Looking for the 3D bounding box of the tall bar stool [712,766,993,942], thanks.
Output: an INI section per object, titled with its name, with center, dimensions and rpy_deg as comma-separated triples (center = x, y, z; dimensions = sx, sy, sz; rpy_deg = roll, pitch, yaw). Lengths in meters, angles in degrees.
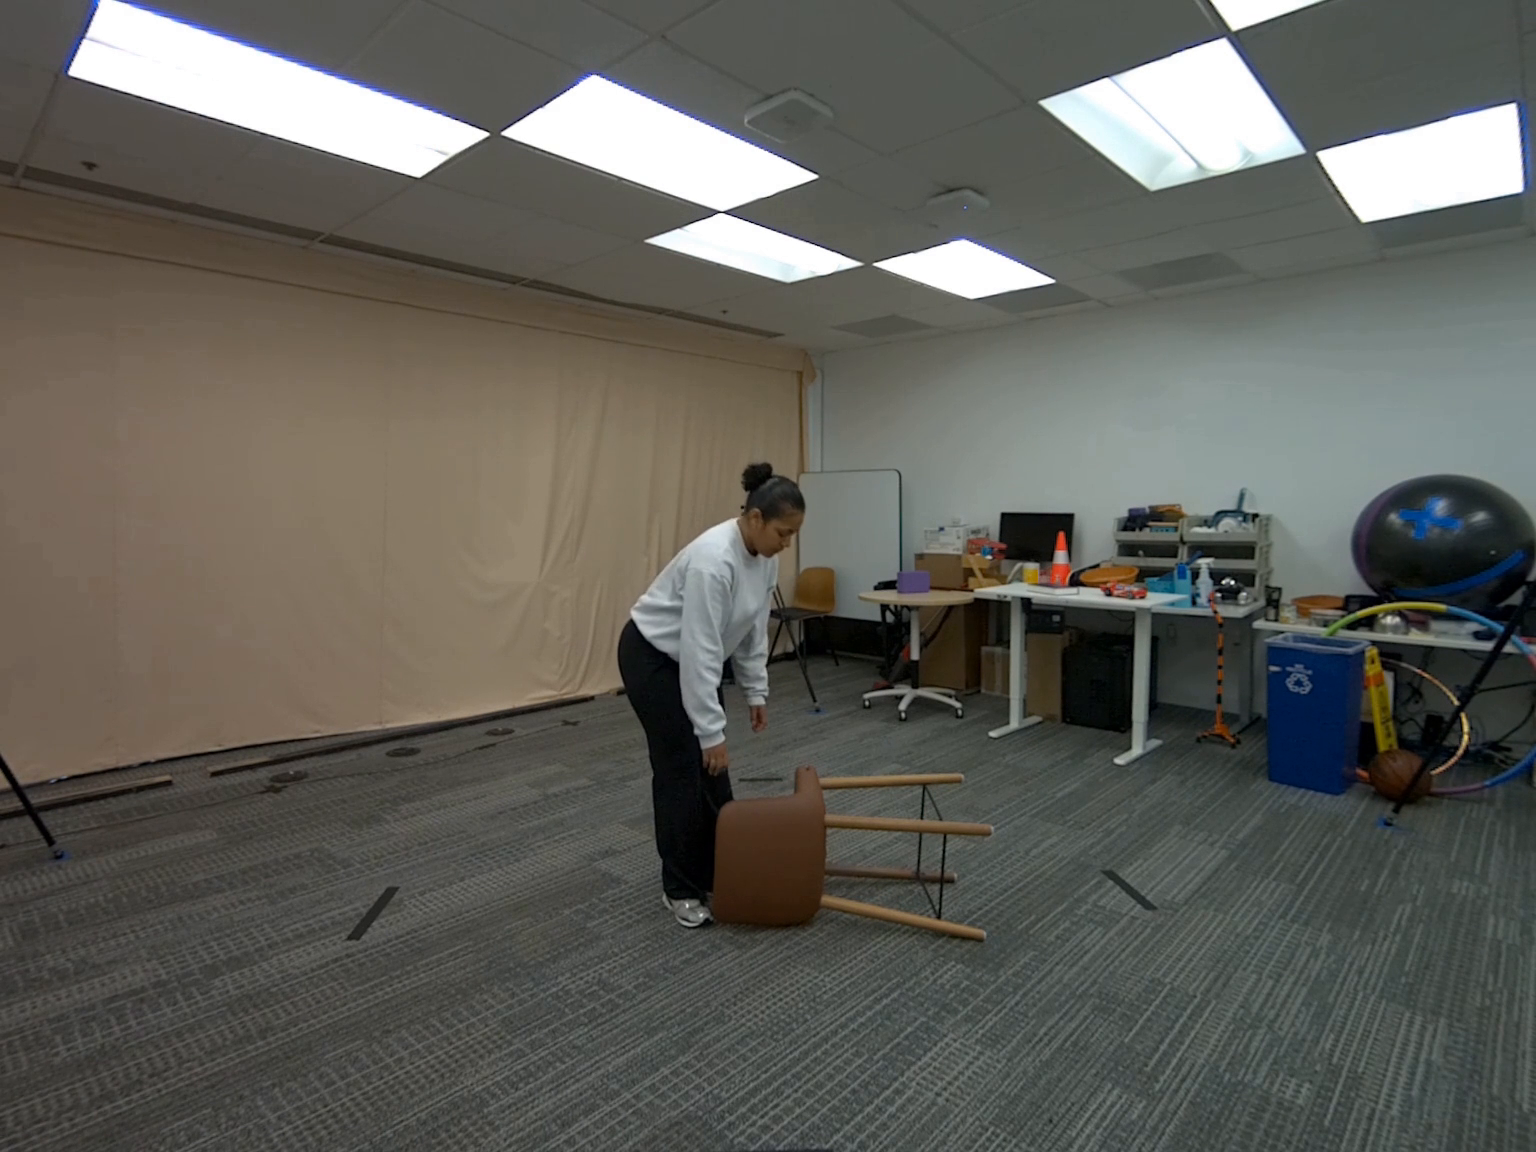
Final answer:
[tall bar stool]
center = 0.271, 0.937, 2.908
dimensions = 0.890, 0.455, 0.469
rpy_deg = 1, 6, 0
